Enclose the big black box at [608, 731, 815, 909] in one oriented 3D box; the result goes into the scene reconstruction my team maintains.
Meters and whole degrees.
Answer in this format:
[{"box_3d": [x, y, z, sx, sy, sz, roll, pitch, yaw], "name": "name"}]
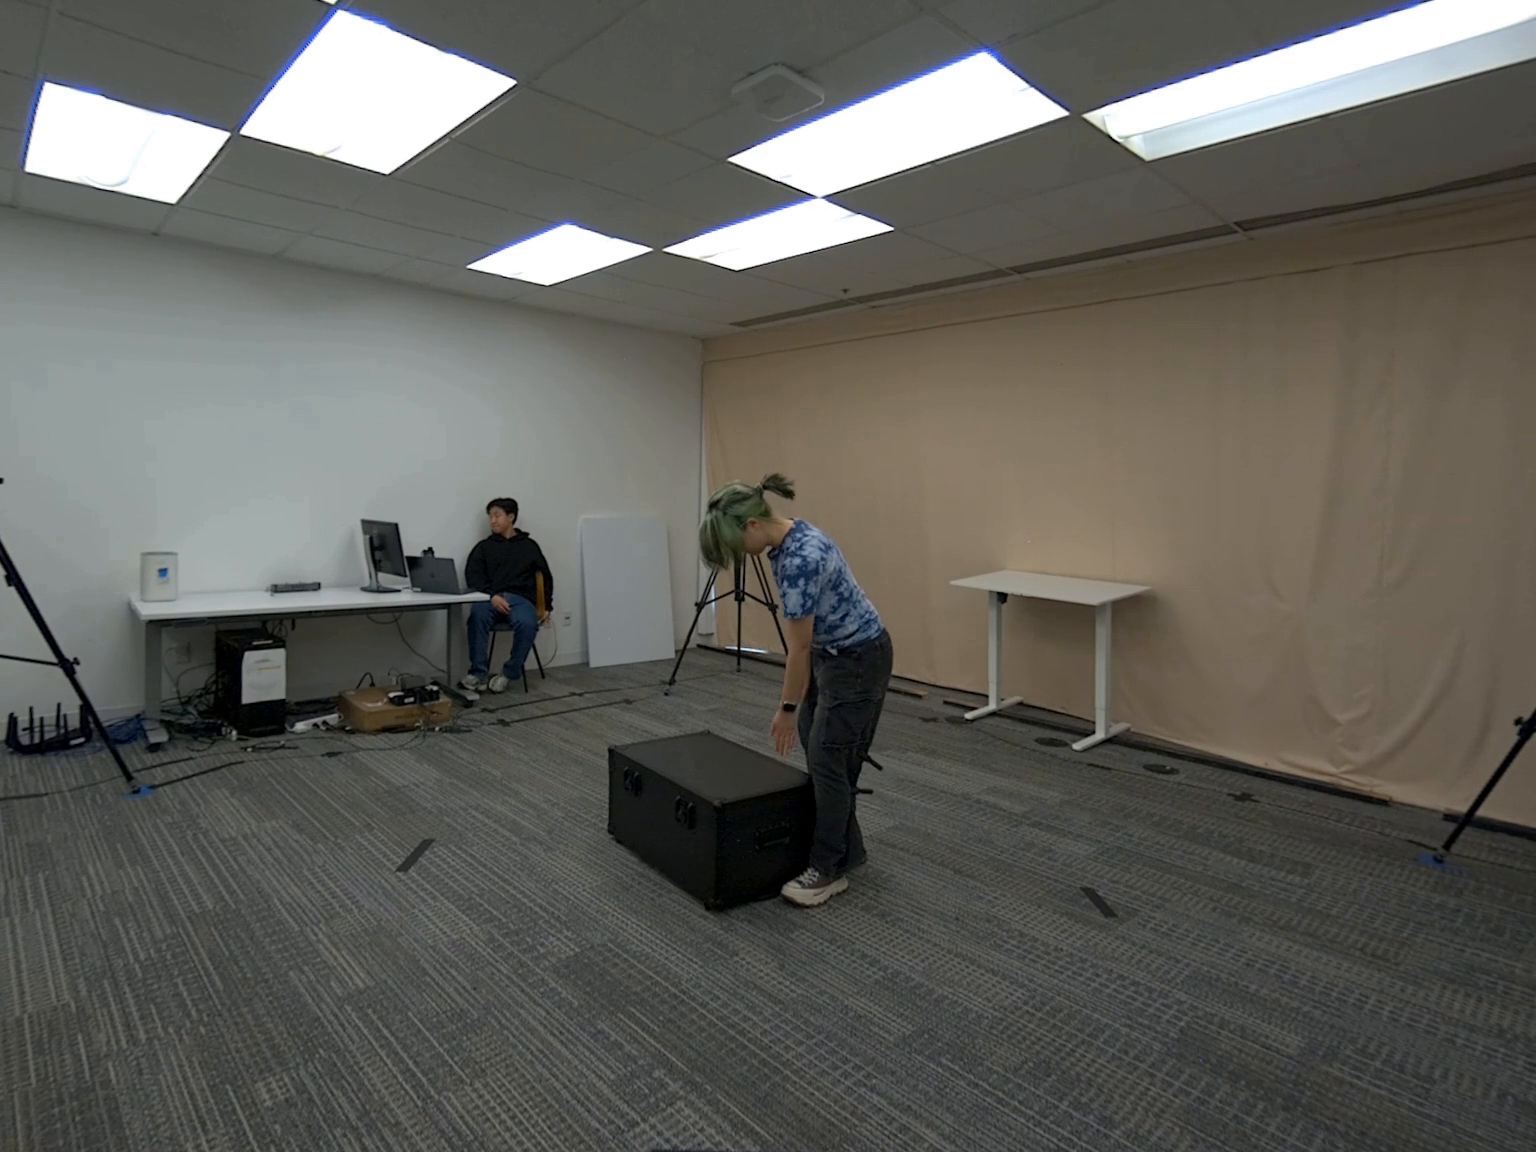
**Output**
[{"box_3d": [-0.248, 0.901, 3.253, 0.510, 0.395, 0.883, -1, 6, -36], "name": "big black box"}]
